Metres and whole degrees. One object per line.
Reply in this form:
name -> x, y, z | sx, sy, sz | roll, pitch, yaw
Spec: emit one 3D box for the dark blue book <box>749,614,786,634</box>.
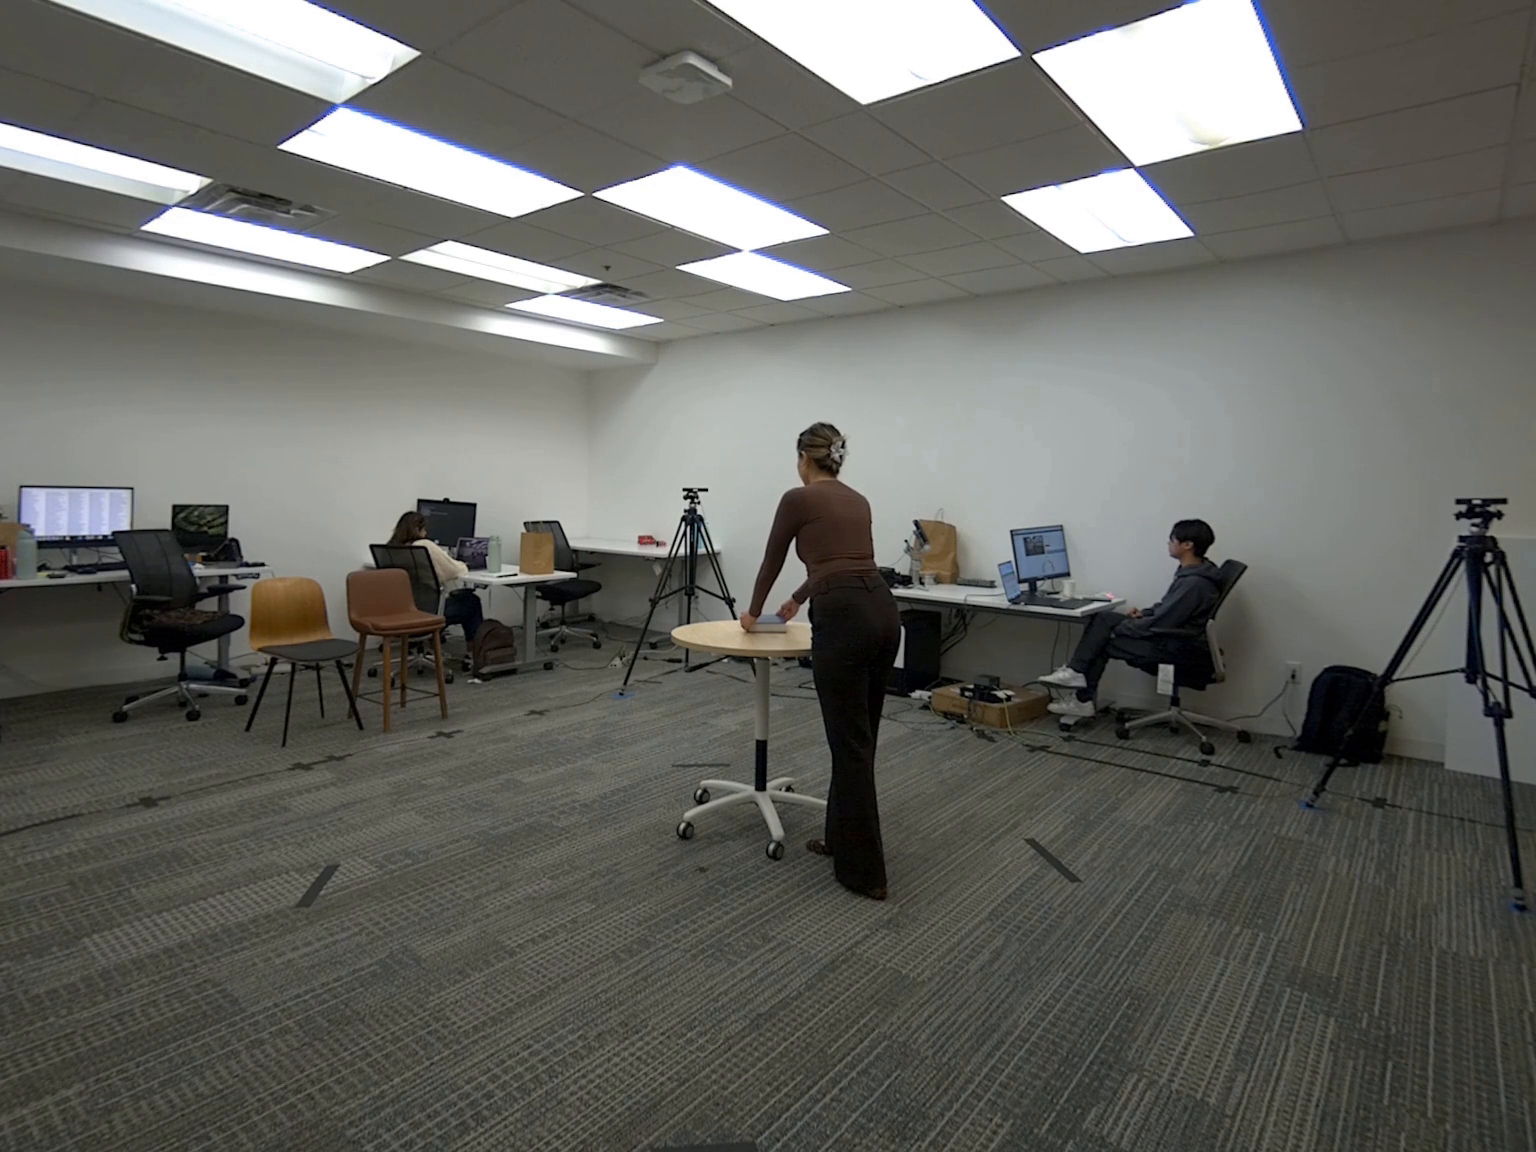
dark blue book -> -0.027, 0.202, 3.676 | 0.162, 0.045, 0.247 | 0, 6, -6
